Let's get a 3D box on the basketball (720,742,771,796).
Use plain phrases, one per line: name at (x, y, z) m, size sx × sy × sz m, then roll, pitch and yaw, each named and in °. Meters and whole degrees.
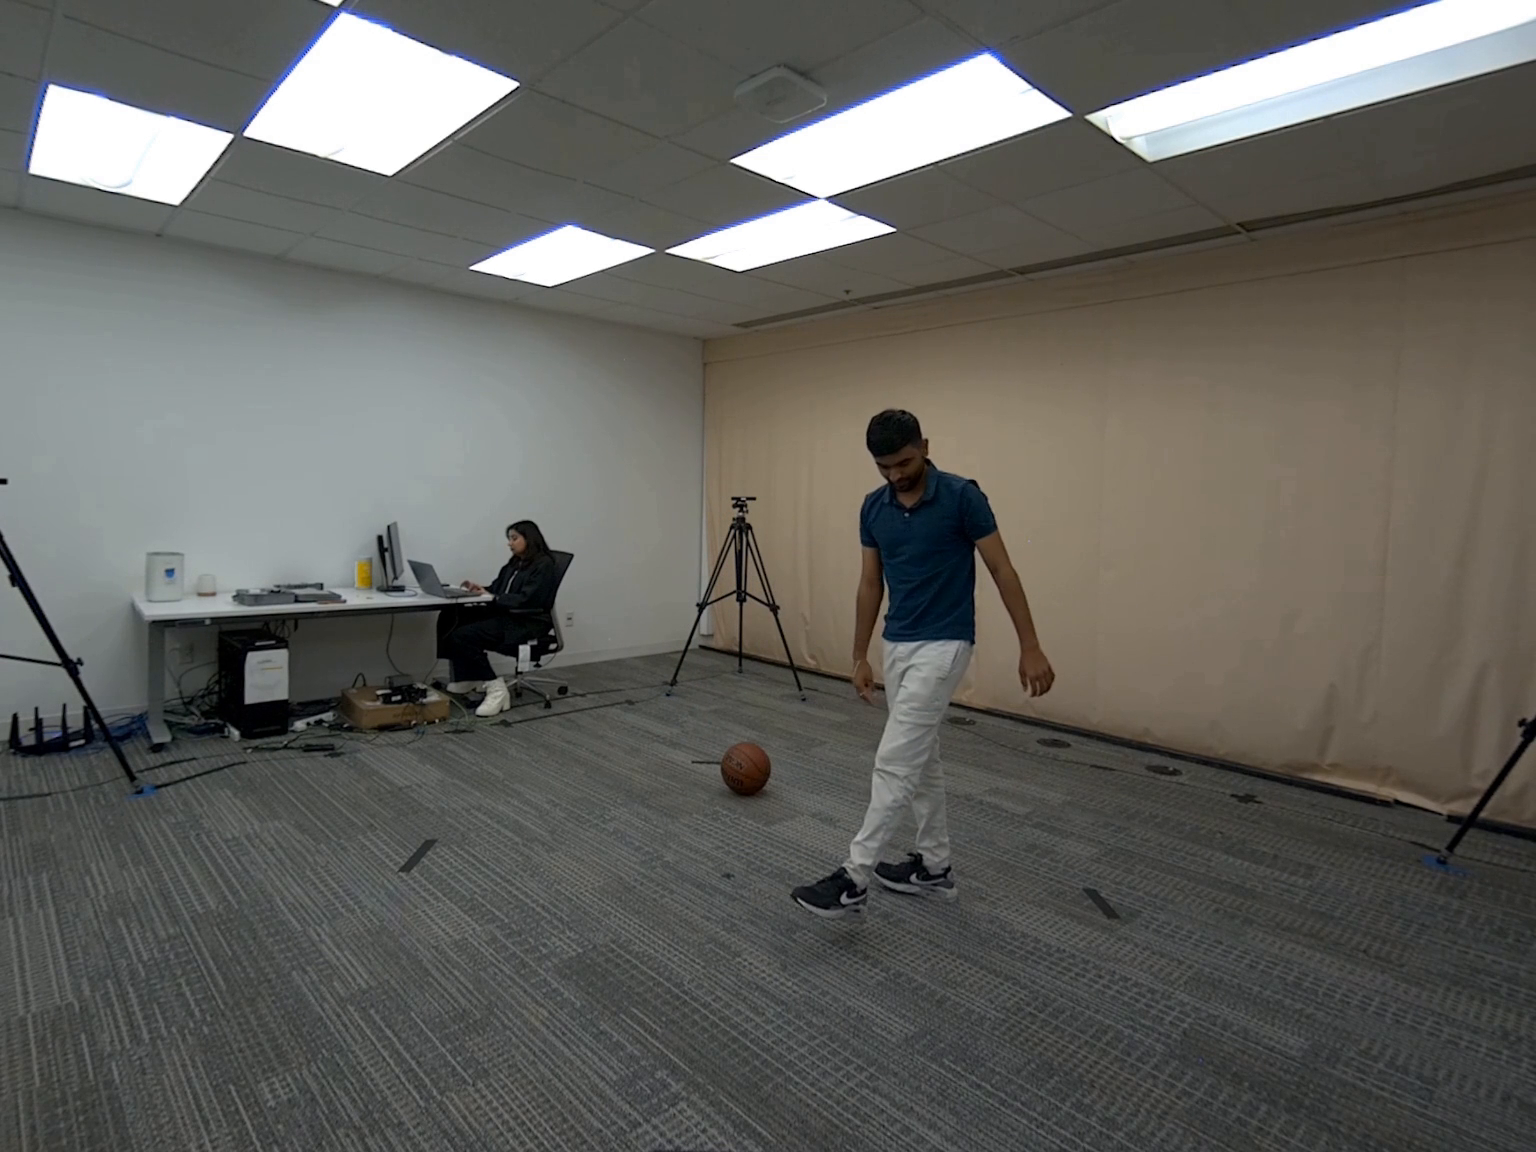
basketball at (-0.120, 0.910, 3.997) m, size 0.236 × 0.235 × 0.237 m, roll 1°, pitch 4°, yaw -1°
